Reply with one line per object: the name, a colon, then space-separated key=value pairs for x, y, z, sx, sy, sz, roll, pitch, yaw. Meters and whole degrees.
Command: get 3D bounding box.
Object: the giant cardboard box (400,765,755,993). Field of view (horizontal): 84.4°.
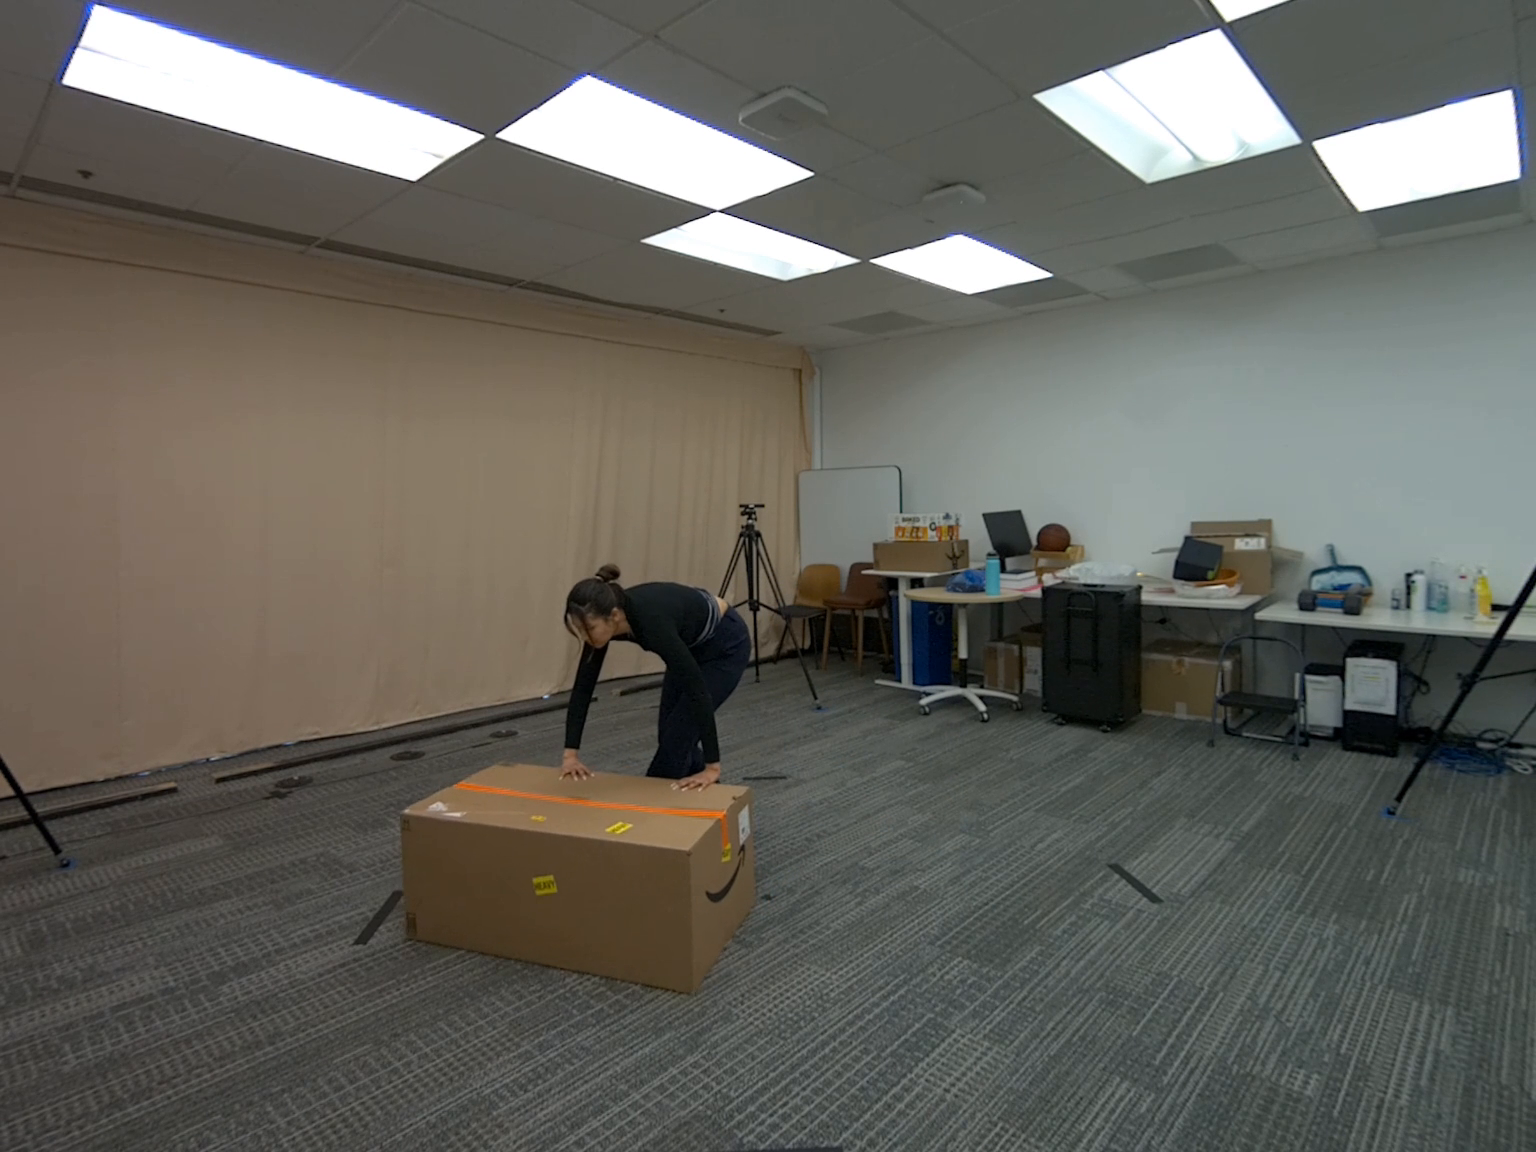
giant cardboard box: x=-0.620 y=0.955 z=2.827 sx=1.047 sy=0.425 sz=0.566 roll=0 pitch=3 yaw=20
